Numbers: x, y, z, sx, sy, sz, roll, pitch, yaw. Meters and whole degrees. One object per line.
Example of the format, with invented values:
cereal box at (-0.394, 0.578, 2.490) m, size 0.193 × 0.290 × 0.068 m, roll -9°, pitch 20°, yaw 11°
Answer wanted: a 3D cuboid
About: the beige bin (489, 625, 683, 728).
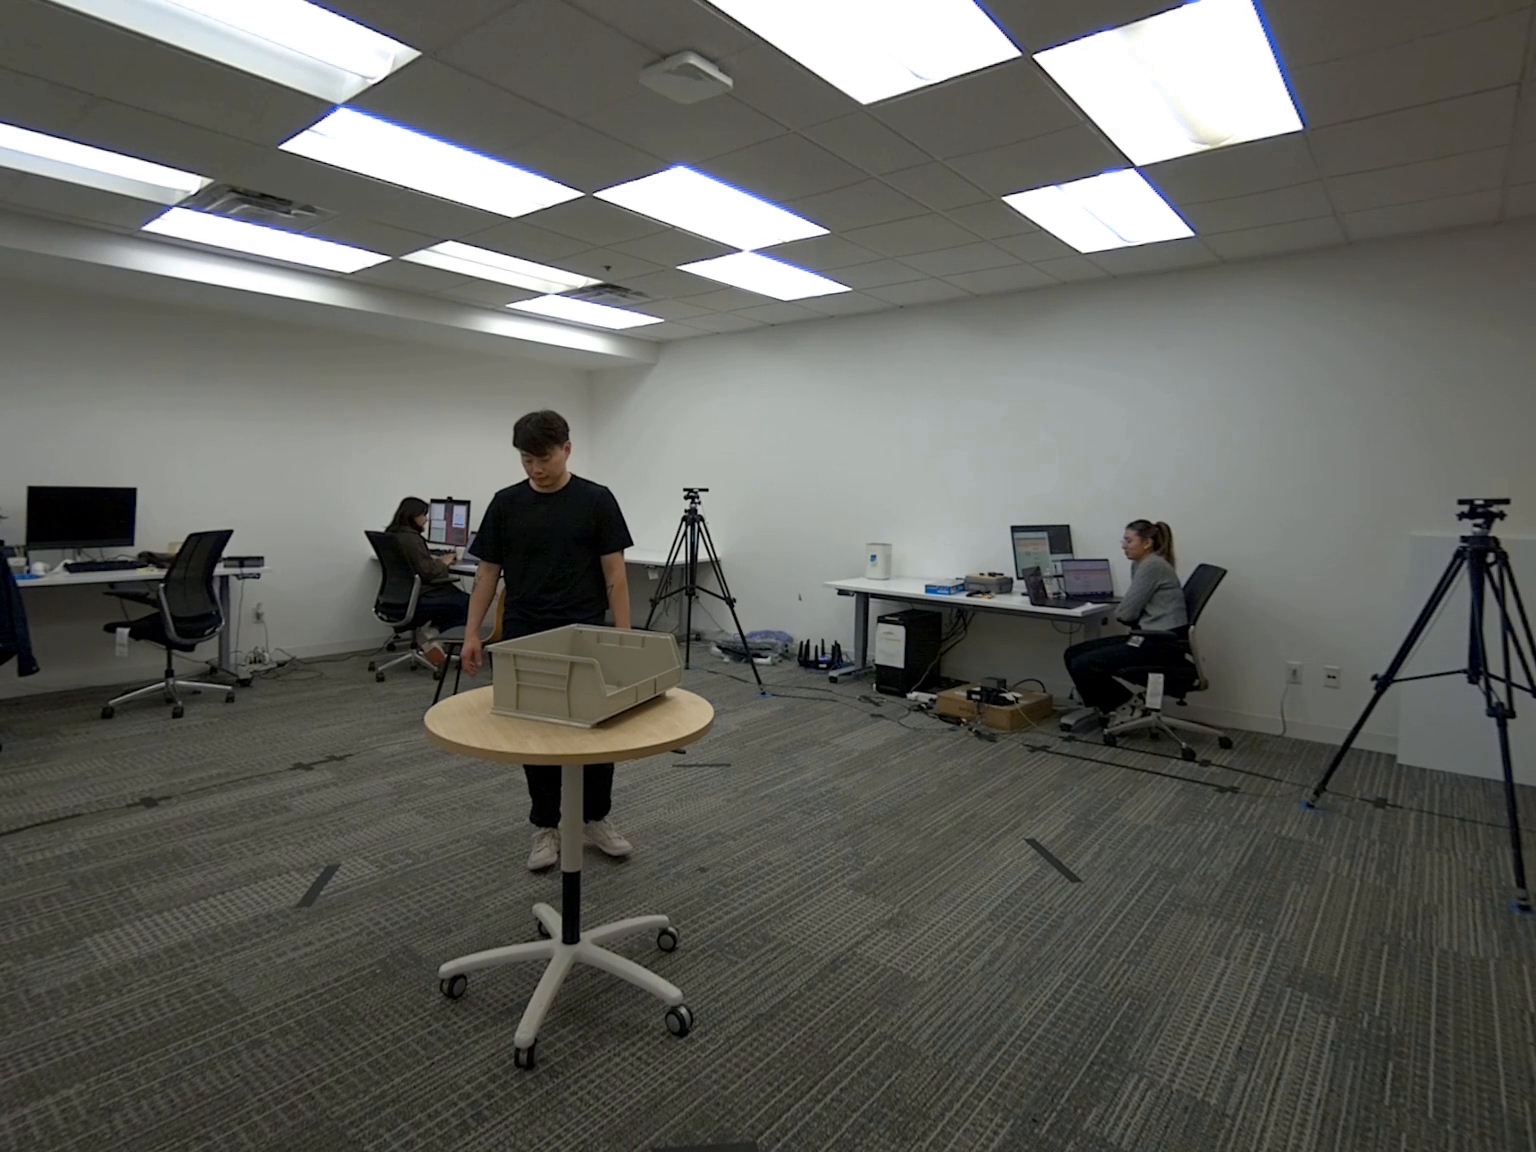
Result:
beige bin at (-0.505, 0.267, 2.360) m, size 0.386 × 0.188 × 0.414 m, roll 2°, pitch 6°, yaw 23°
